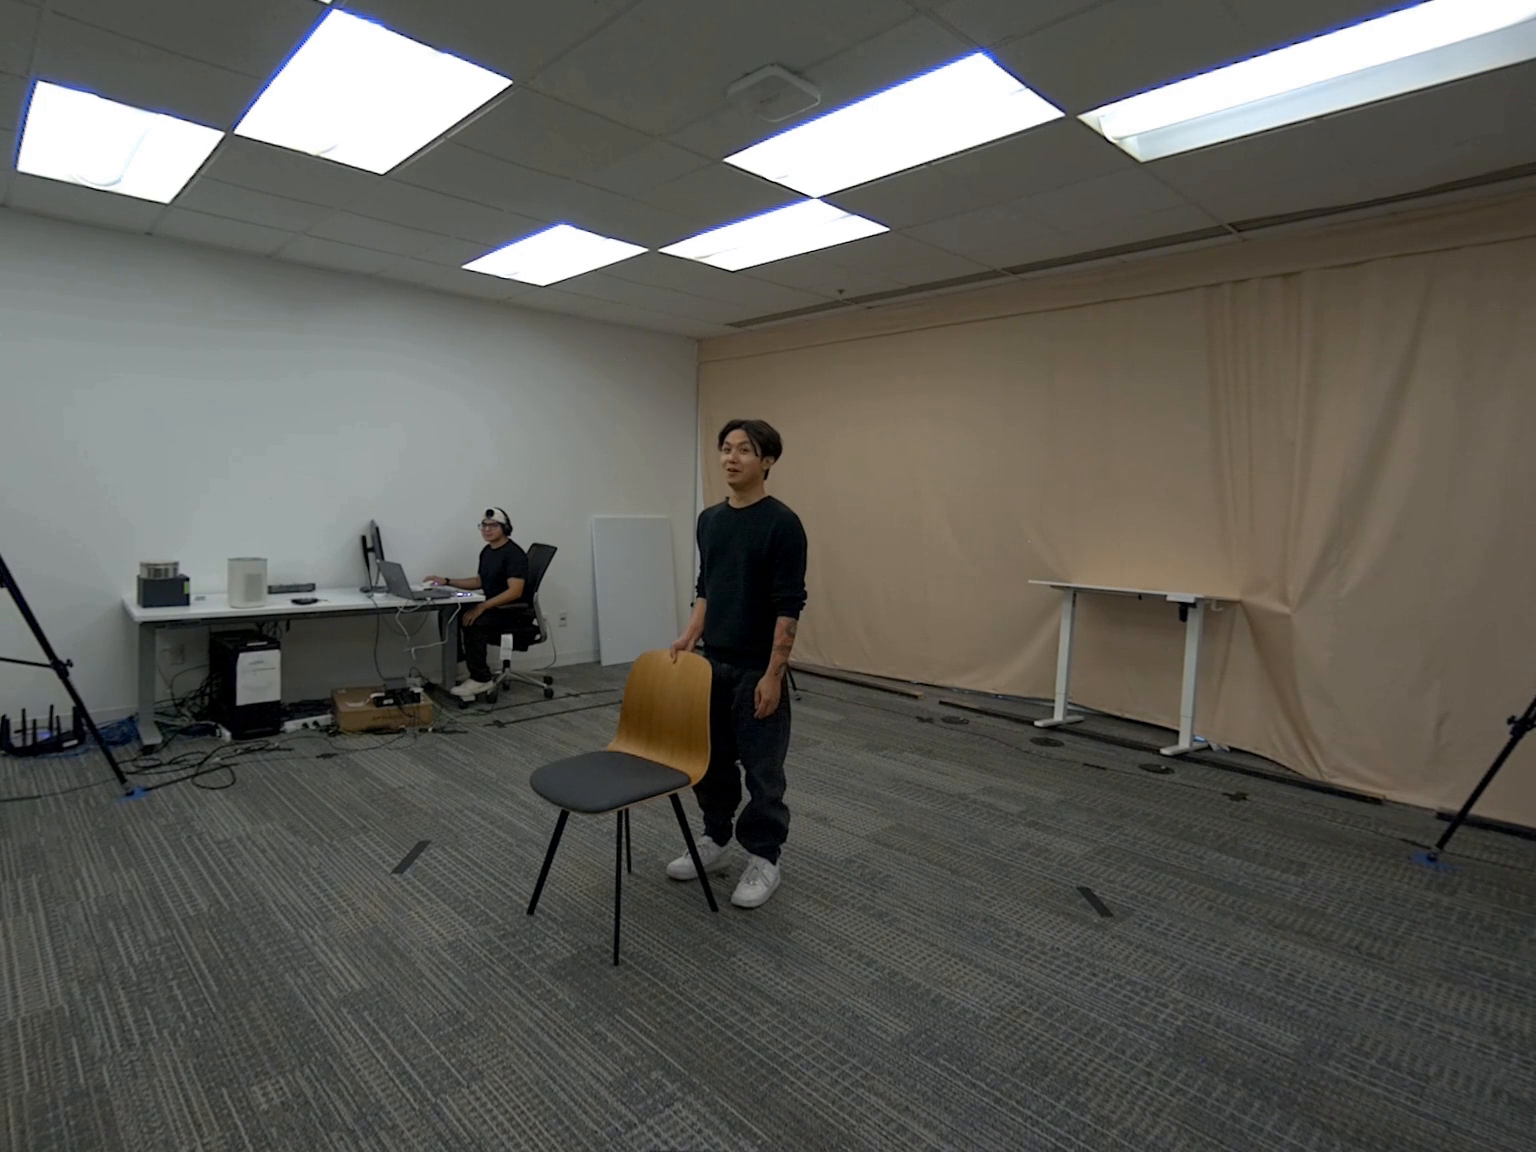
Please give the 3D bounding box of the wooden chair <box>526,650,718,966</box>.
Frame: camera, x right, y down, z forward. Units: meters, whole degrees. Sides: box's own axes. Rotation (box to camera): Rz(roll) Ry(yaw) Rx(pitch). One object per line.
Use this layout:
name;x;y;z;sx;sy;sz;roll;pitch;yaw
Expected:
wooden chair;-0.483;0.704;2.761;0.490;0.877;0.510;4;0;40
